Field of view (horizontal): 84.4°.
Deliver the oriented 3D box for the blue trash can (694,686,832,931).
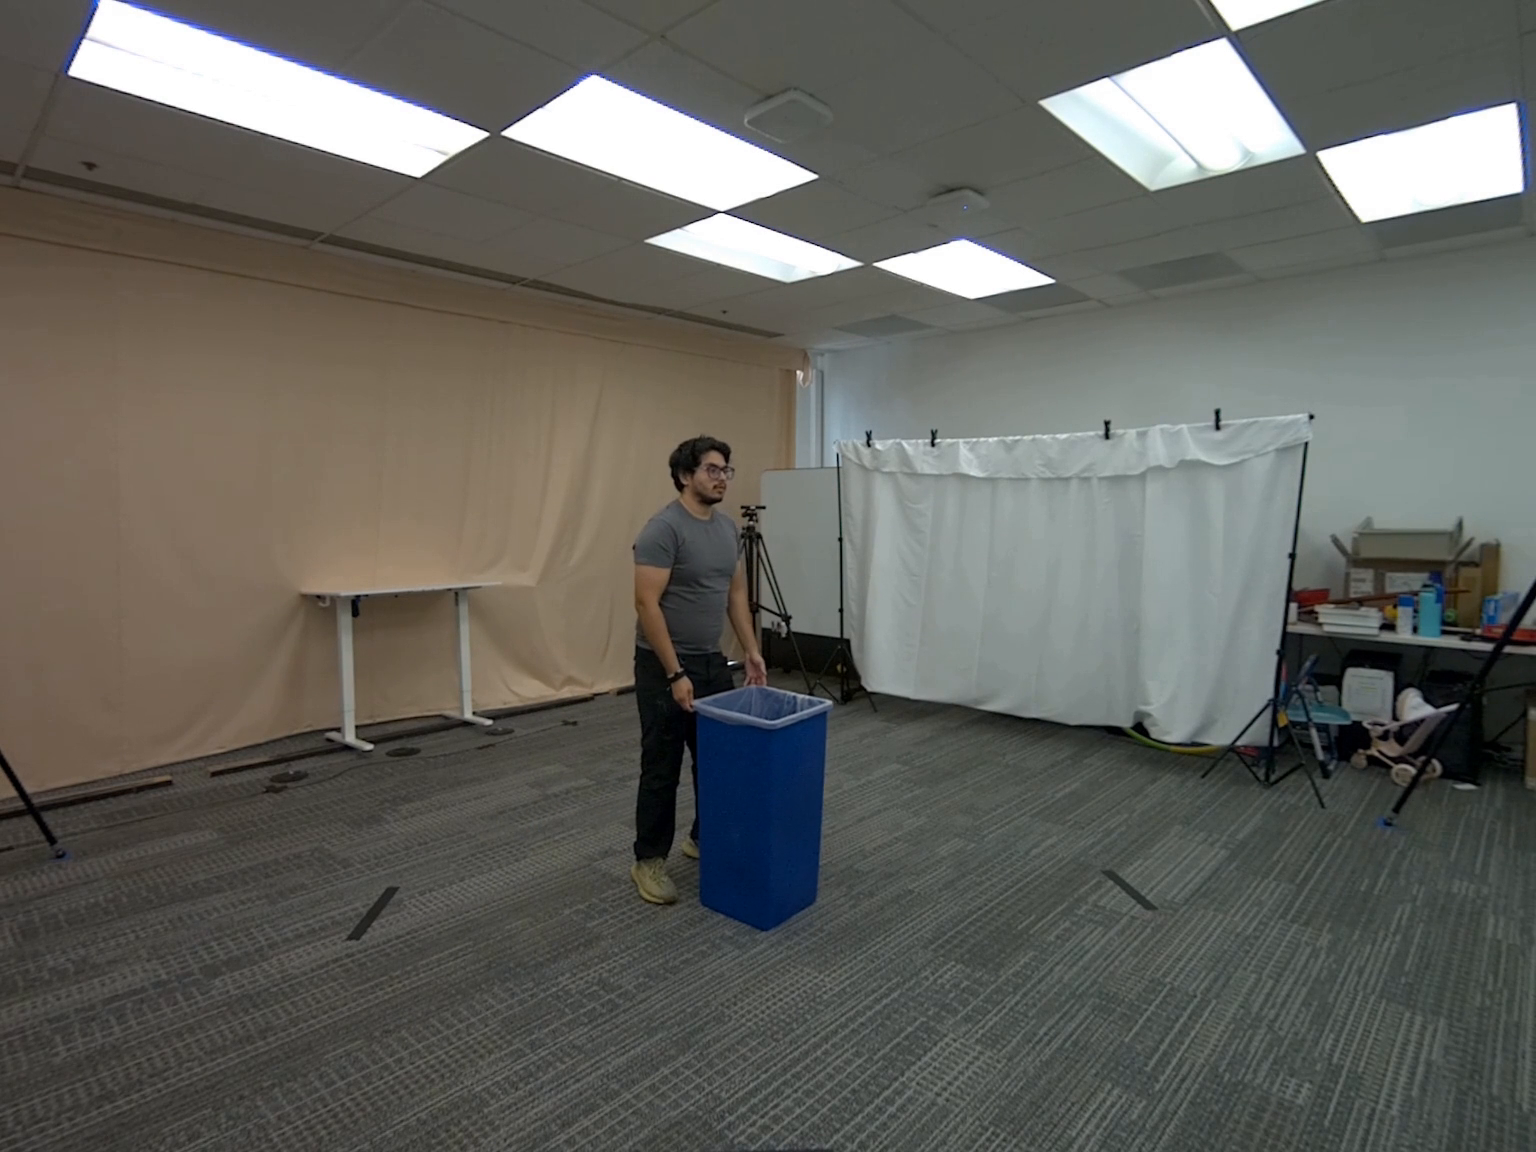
[{"bbox_3d":[-0.022,0.788,2.916,0.390,0.712,0.363,5,5,39],"label":"blue trash can"}]
